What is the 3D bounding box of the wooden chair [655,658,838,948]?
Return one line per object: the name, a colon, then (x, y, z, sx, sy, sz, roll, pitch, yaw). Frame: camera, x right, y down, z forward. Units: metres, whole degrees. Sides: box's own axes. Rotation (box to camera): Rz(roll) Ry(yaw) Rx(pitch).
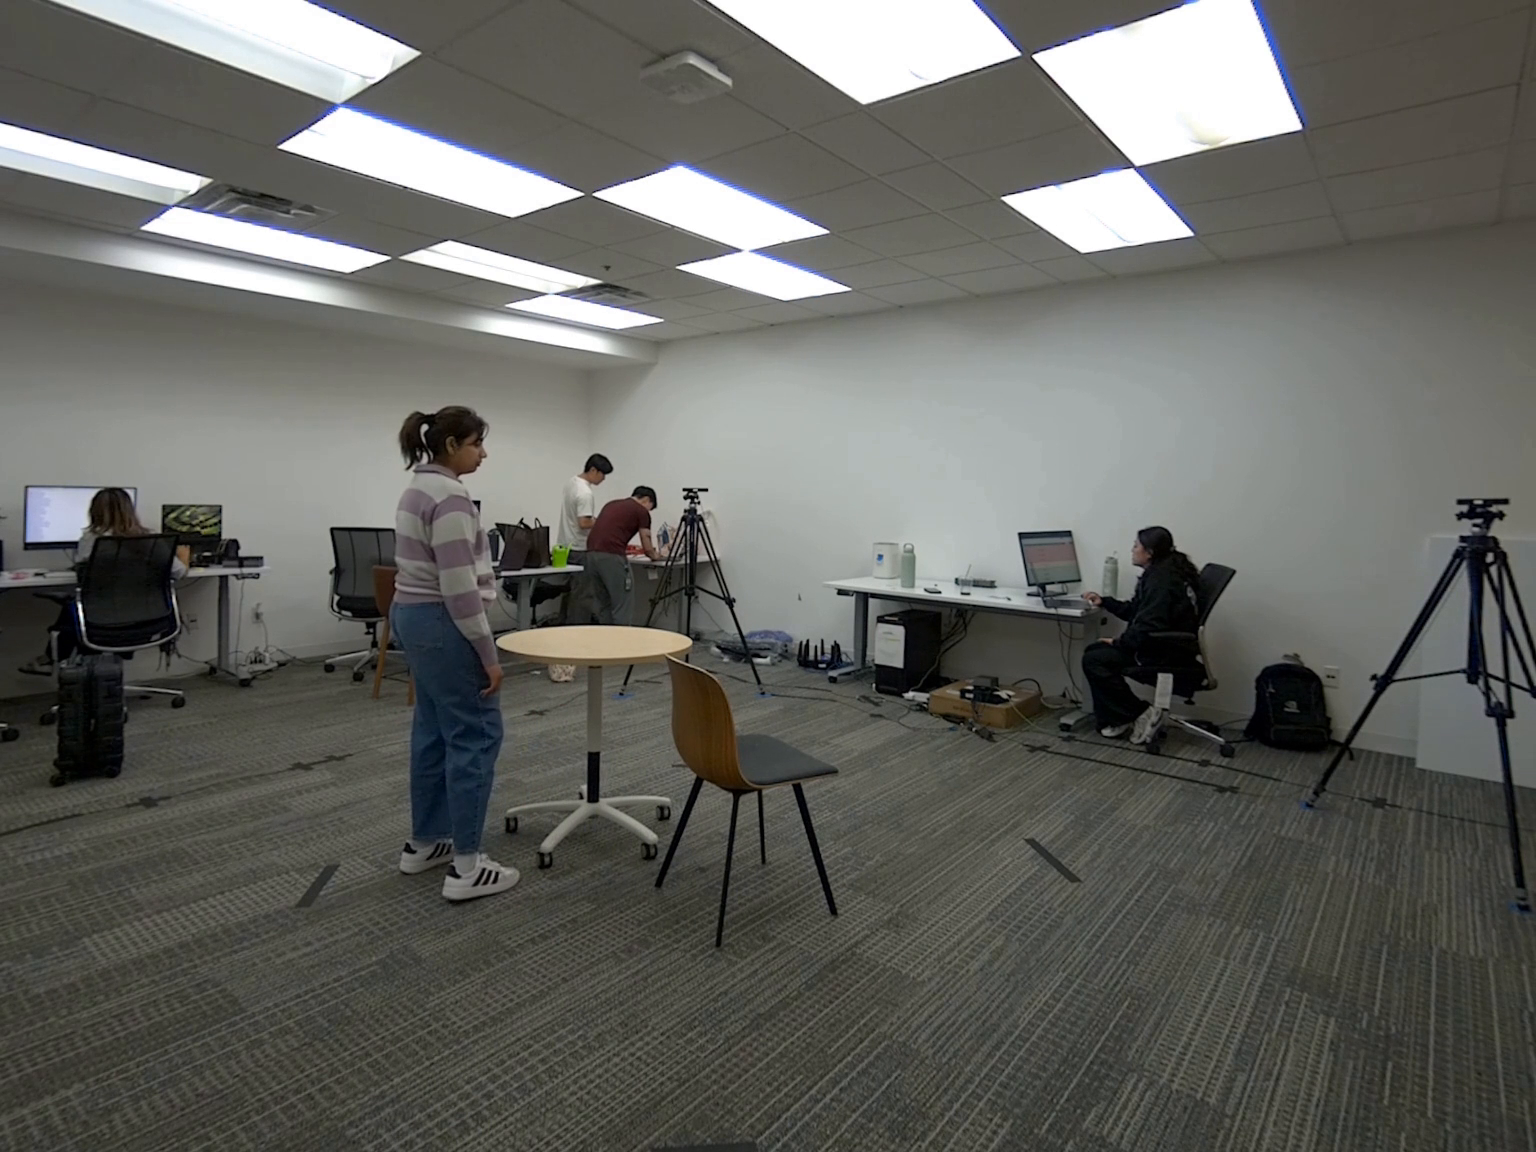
wooden chair: (-0.072, 0.671, 2.849, 0.510, 0.873, 0.492, -5, 6, -31)
